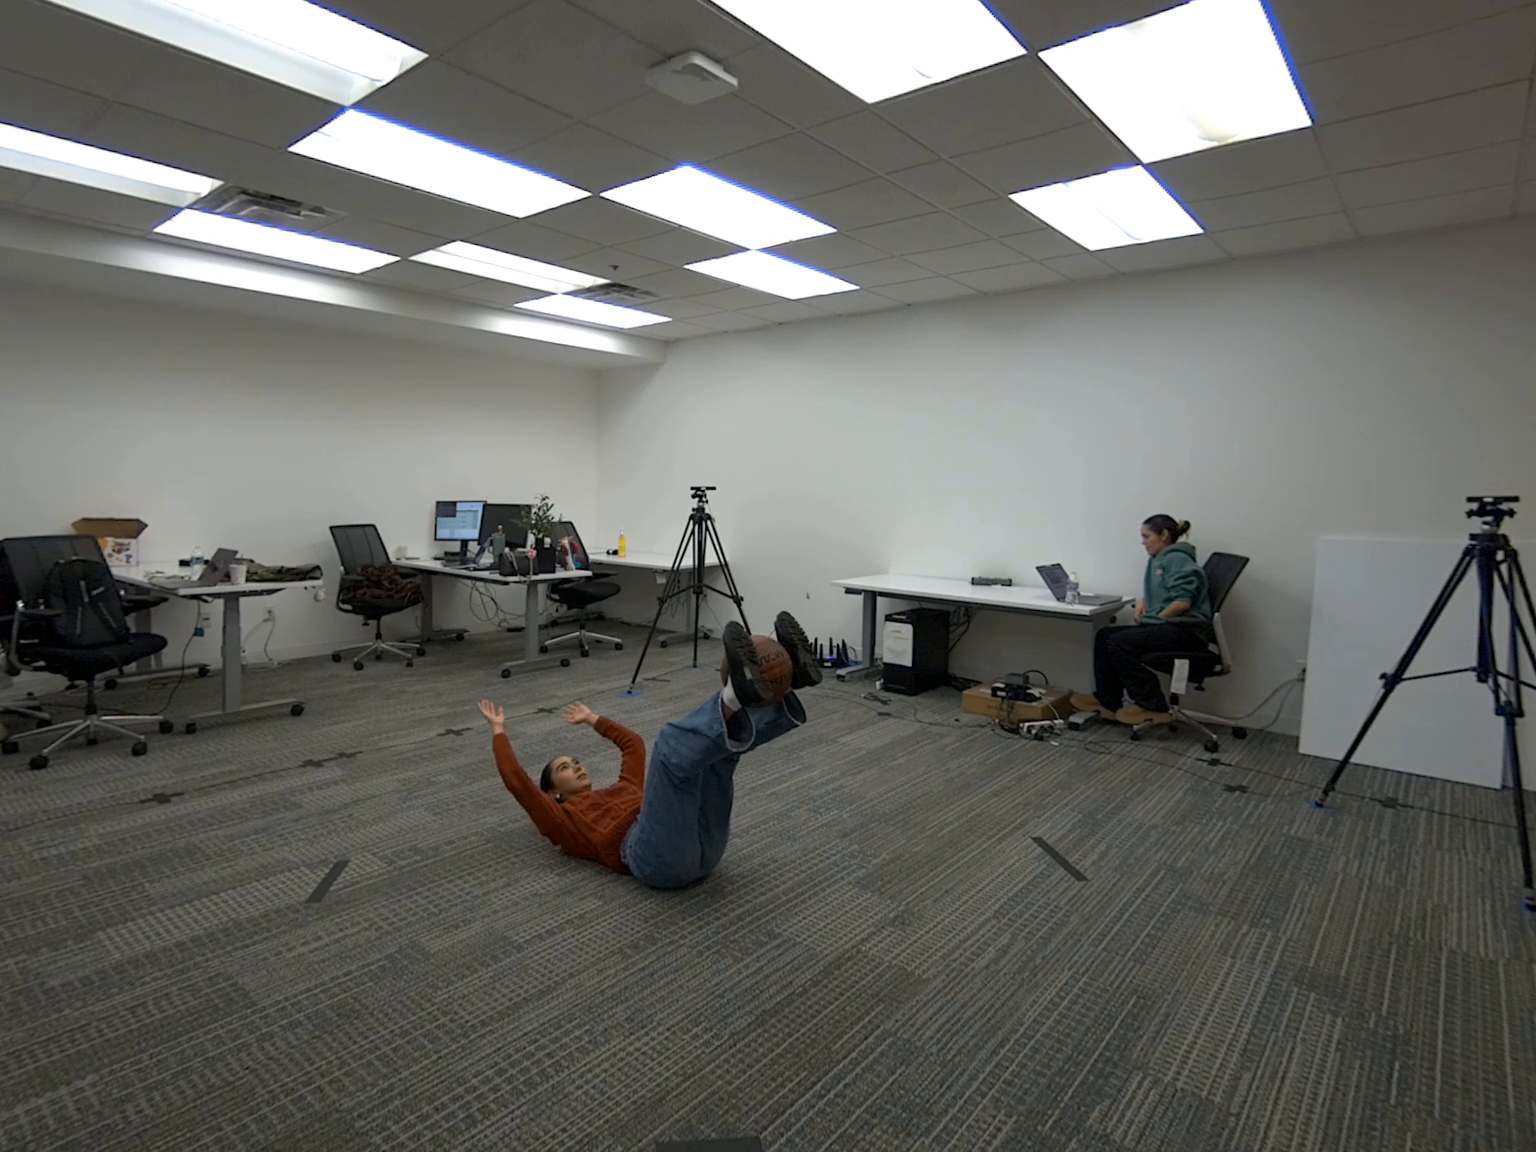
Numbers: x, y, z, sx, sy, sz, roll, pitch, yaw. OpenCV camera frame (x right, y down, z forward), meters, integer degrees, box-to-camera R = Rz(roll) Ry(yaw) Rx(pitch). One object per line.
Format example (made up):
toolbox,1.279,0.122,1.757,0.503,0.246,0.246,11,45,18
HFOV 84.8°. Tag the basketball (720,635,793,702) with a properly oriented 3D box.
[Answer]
basketball,-0.038,0.318,2.799,0.236,0.235,0.237,-3,3,-2
